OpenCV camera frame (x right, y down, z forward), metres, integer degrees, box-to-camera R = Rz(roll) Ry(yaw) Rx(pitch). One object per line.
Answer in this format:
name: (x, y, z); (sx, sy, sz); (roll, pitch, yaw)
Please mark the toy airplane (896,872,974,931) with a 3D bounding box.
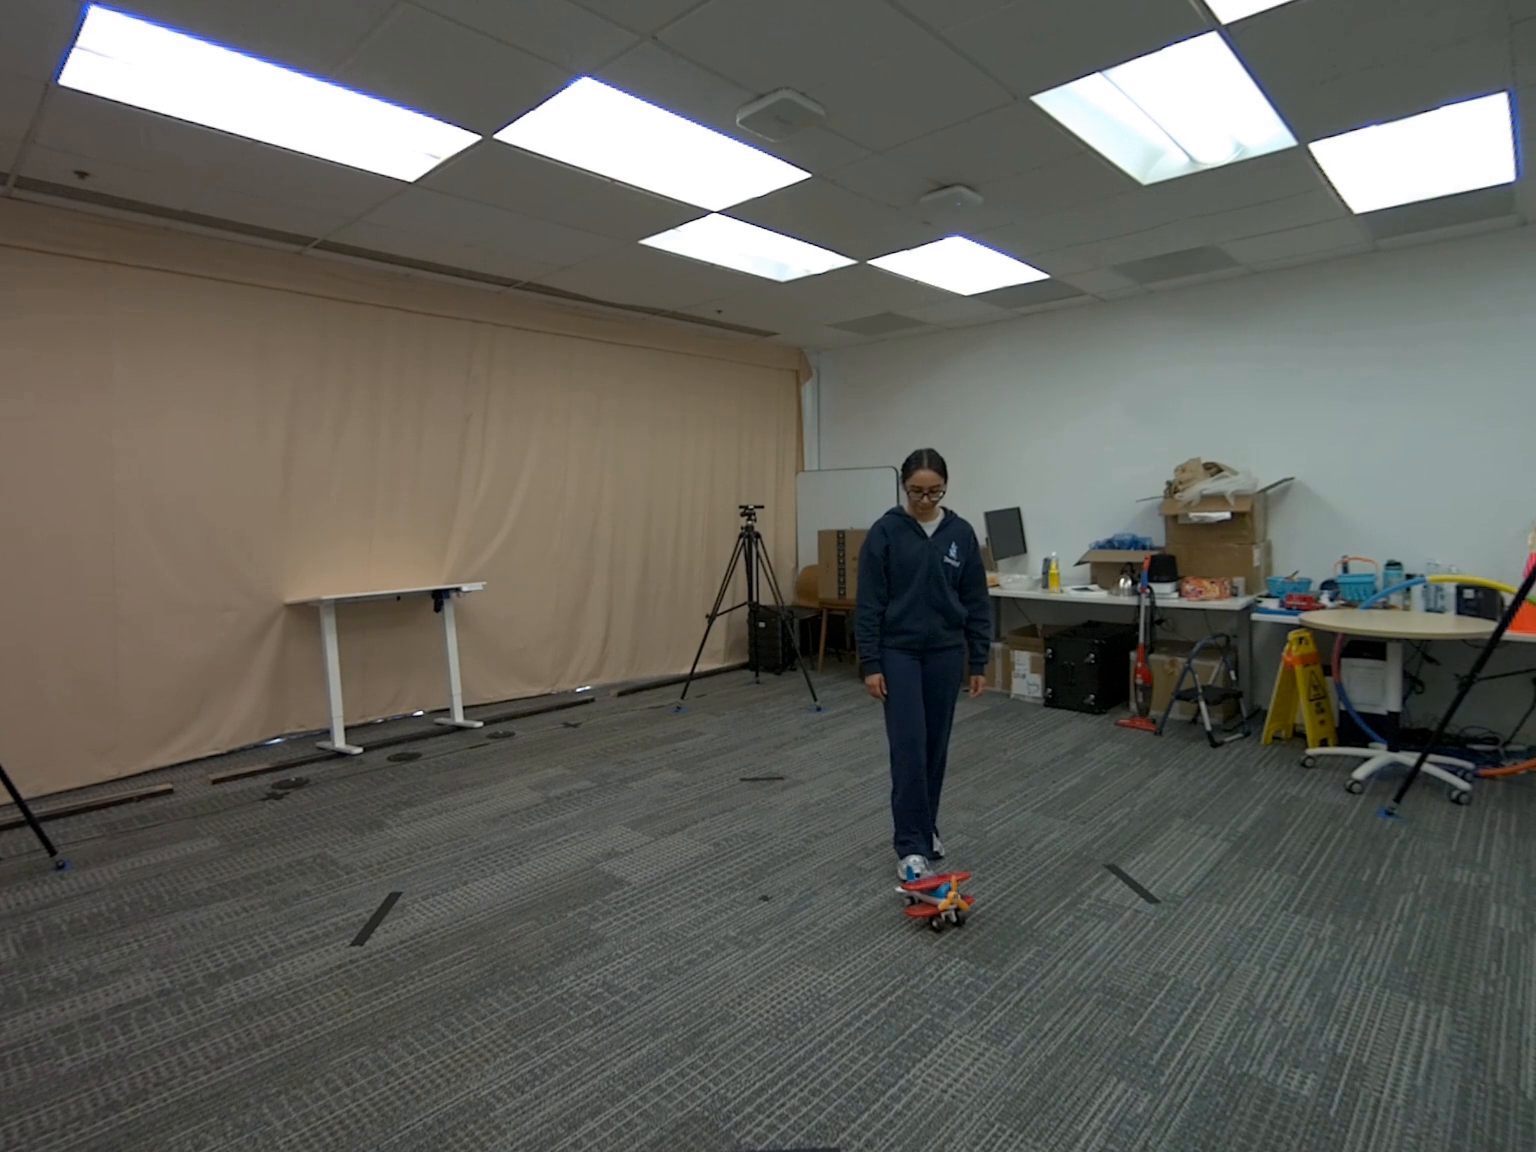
toy airplane: (0.536, 1.072, 2.808); (0.268, 0.156, 0.244); (4, 7, 37)
